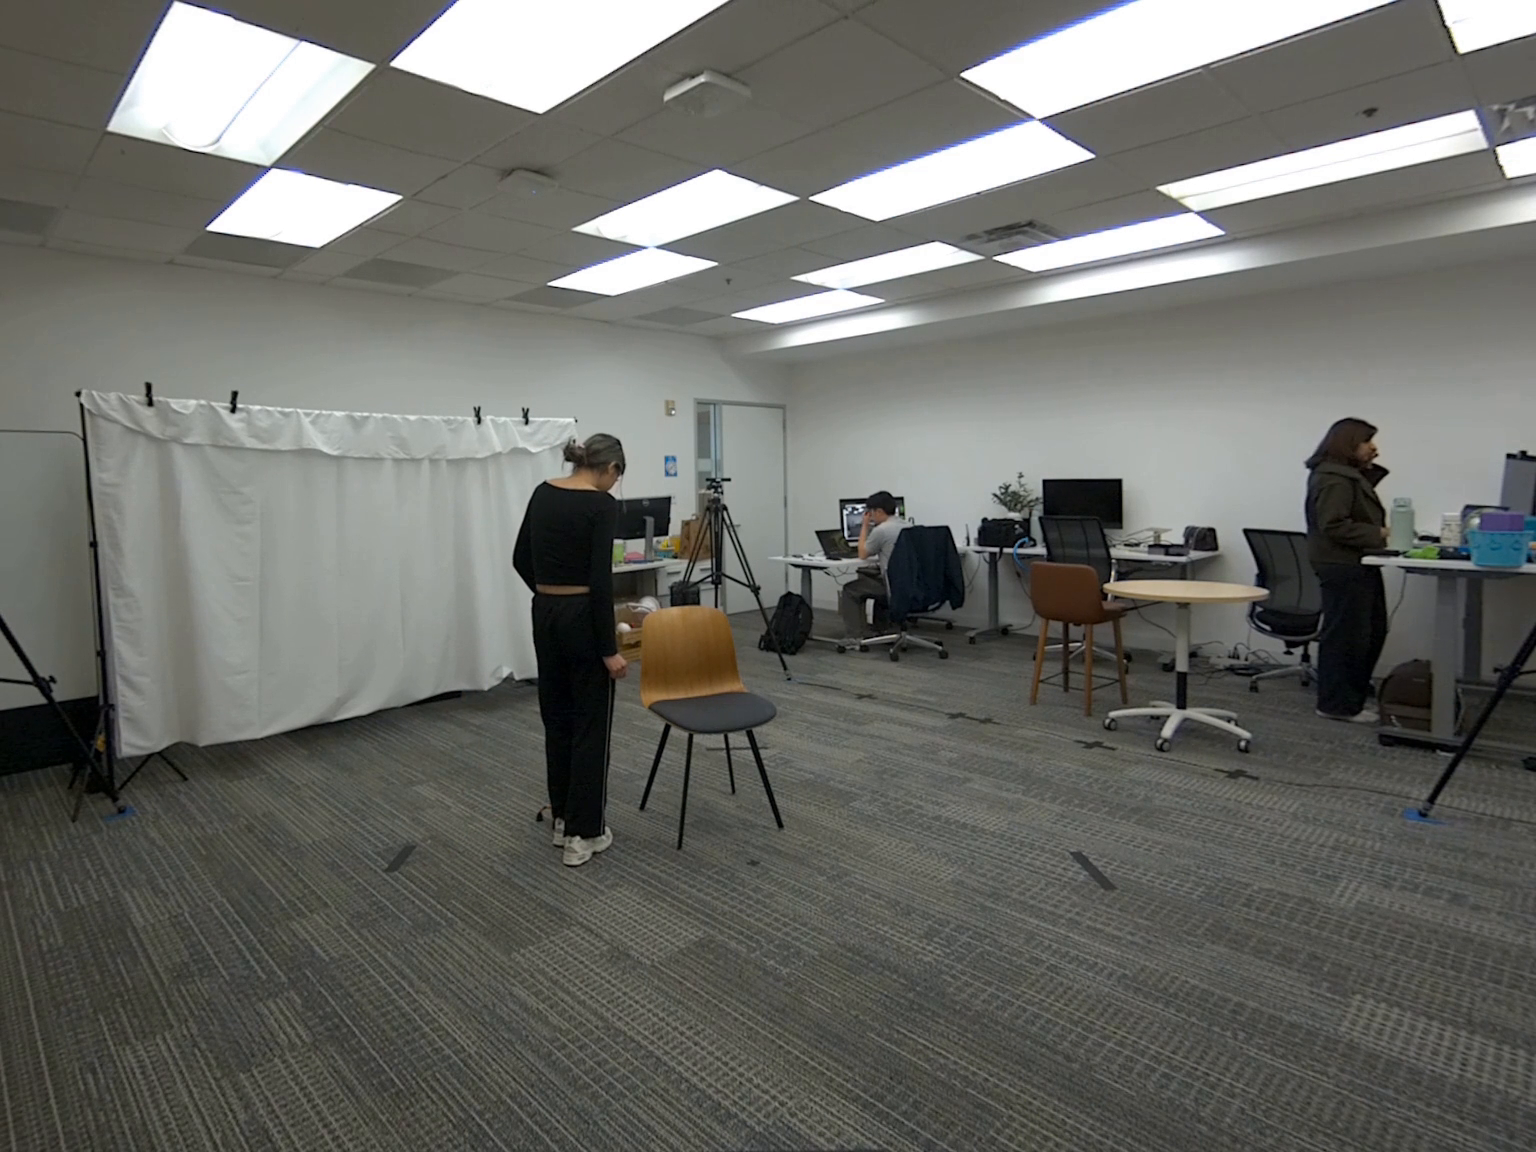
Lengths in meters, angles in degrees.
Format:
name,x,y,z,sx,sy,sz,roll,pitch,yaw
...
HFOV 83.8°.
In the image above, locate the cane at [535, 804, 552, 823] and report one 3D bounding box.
name,x,y,z,sx,sy,sz,roll,pitch,yaw
cane,-0.826,0.547,3.529,0.201,0.906,0.156,-2,3,-33
